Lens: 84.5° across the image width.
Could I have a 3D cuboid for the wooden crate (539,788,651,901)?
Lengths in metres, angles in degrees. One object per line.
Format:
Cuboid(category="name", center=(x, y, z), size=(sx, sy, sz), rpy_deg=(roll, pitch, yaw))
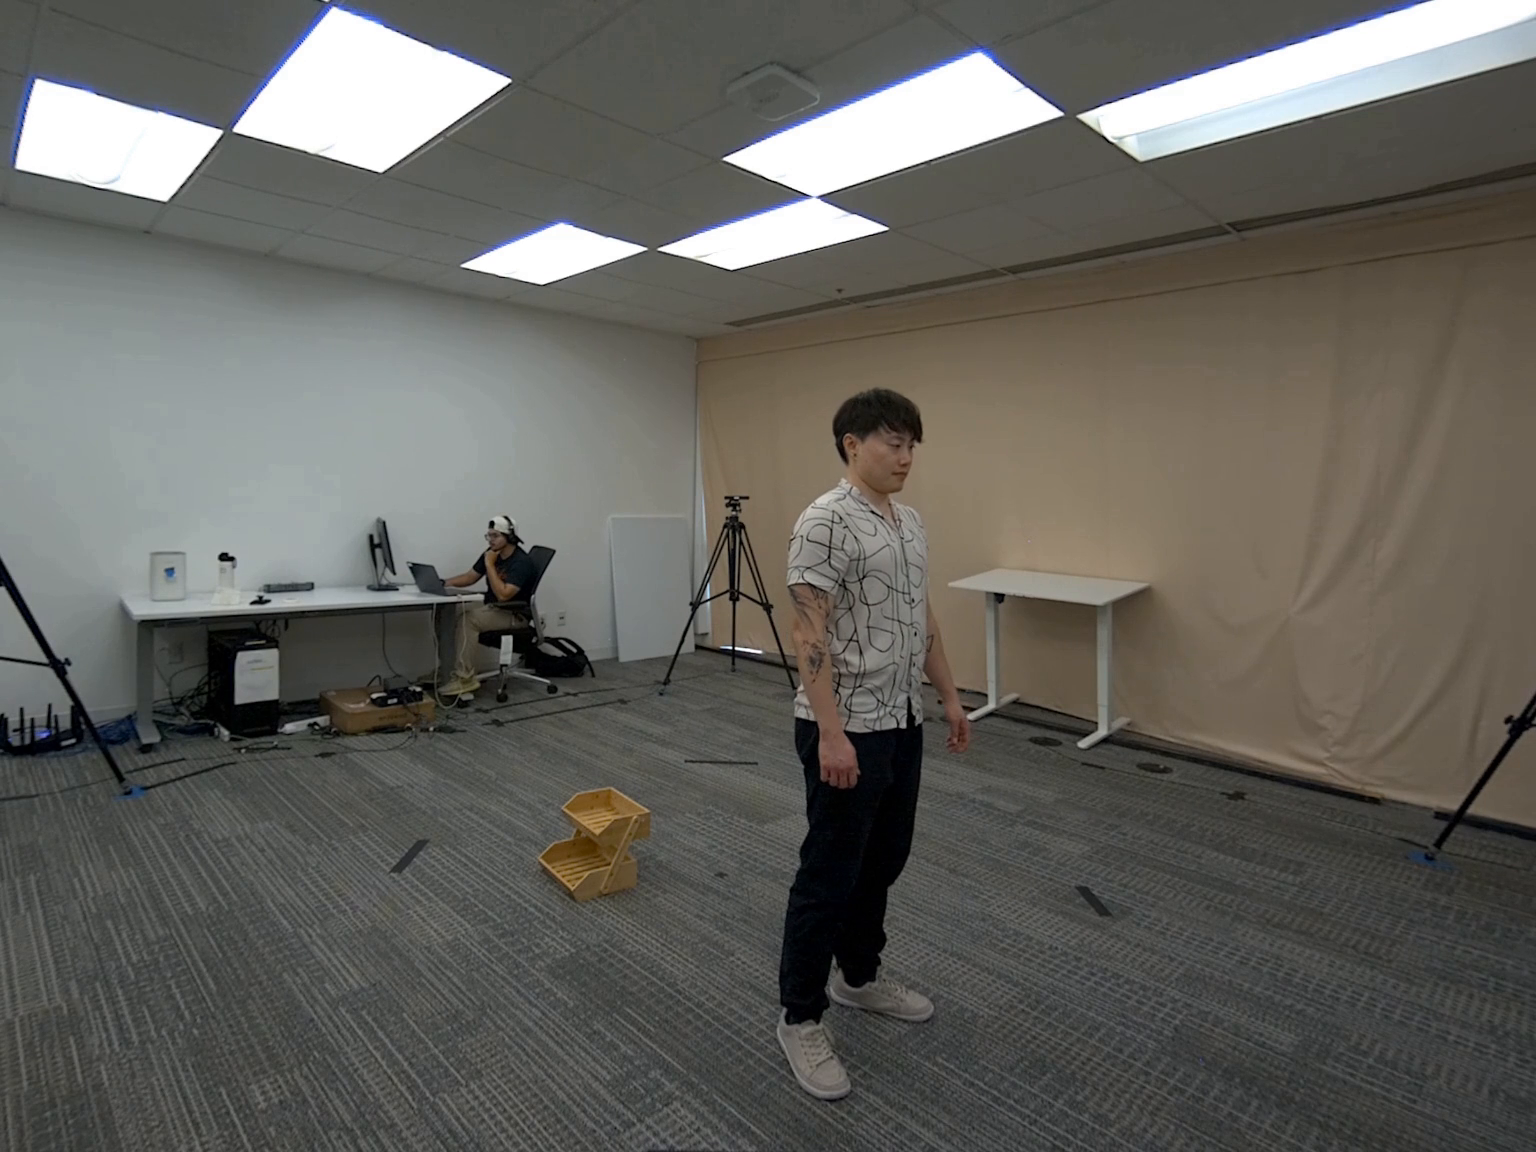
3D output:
Cuboid(category="wooden crate", center=(-0.647, 0.964, 3.060), size=(0.295, 0.273, 0.332), rpy_deg=(-1, 5, -37))
